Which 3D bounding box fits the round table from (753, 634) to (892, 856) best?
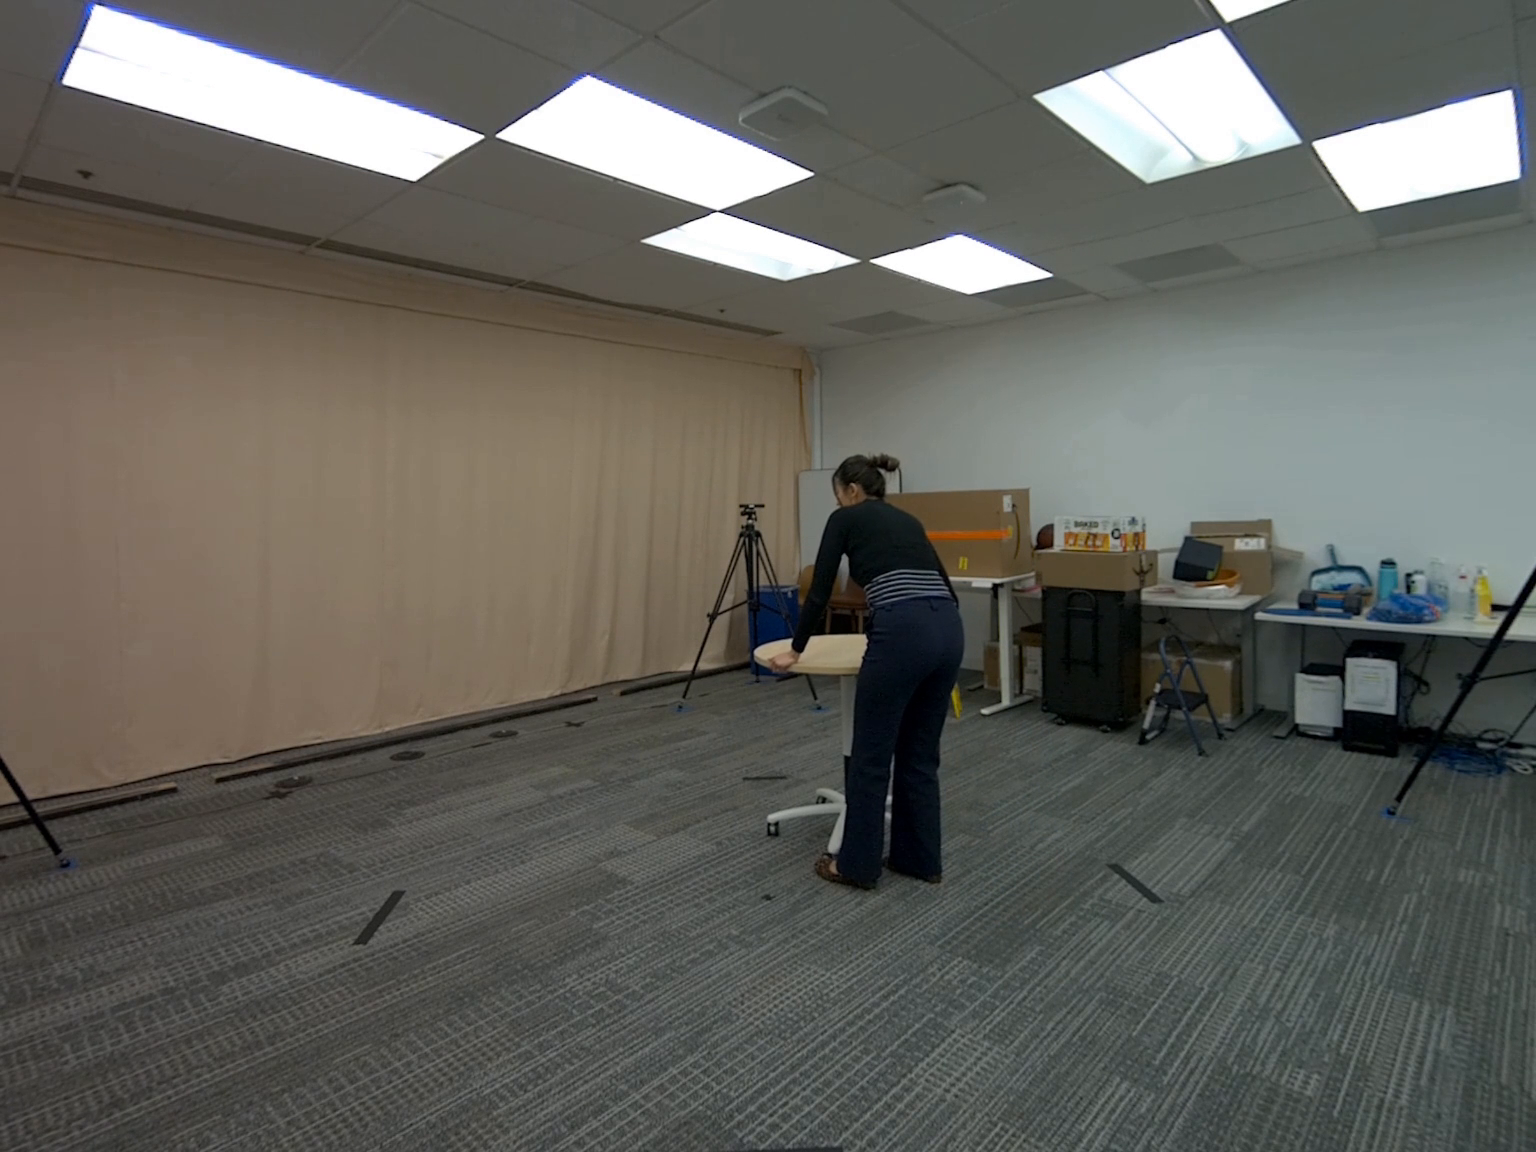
[{"bbox_3d":[0.335,0.695,3.491,0.763,0.792,0.767,-2,4,-2],"label":"round table"}]
